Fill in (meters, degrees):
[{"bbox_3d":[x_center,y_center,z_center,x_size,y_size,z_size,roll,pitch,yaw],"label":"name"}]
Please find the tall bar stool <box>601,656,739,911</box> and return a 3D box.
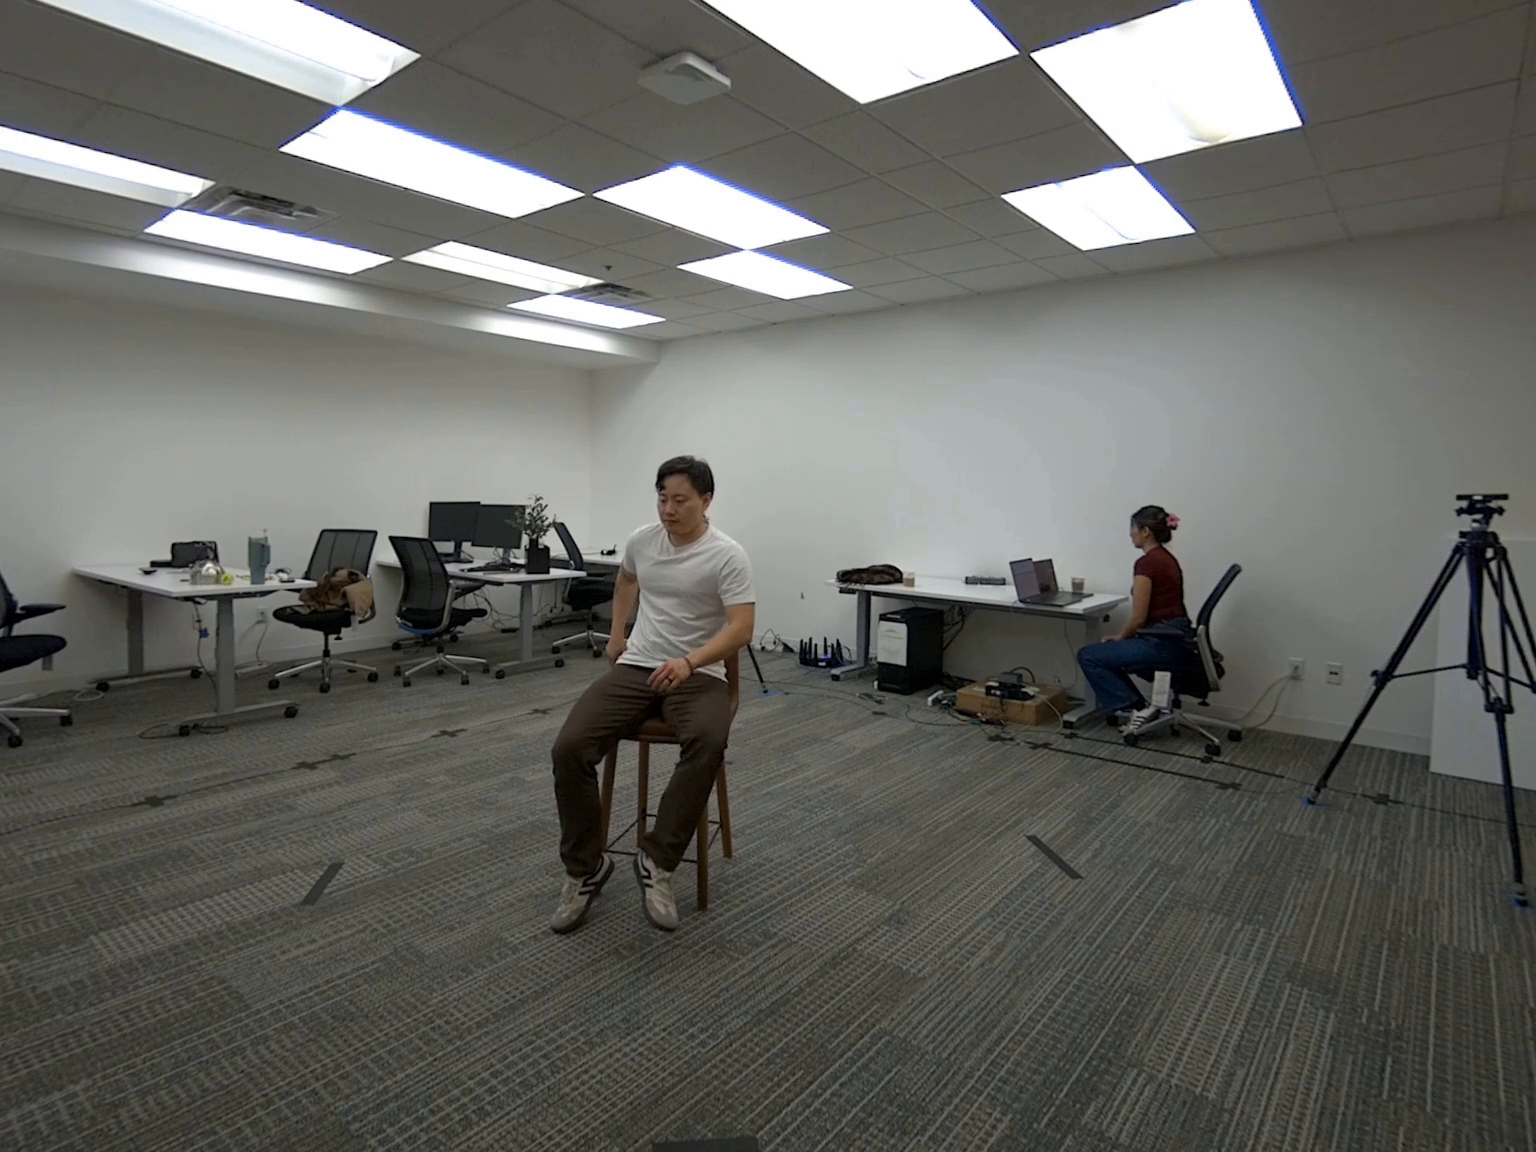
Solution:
[{"bbox_3d":[-0.361,0.639,3.039,0.464,0.889,0.461,2,2,13],"label":"tall bar stool"}]
